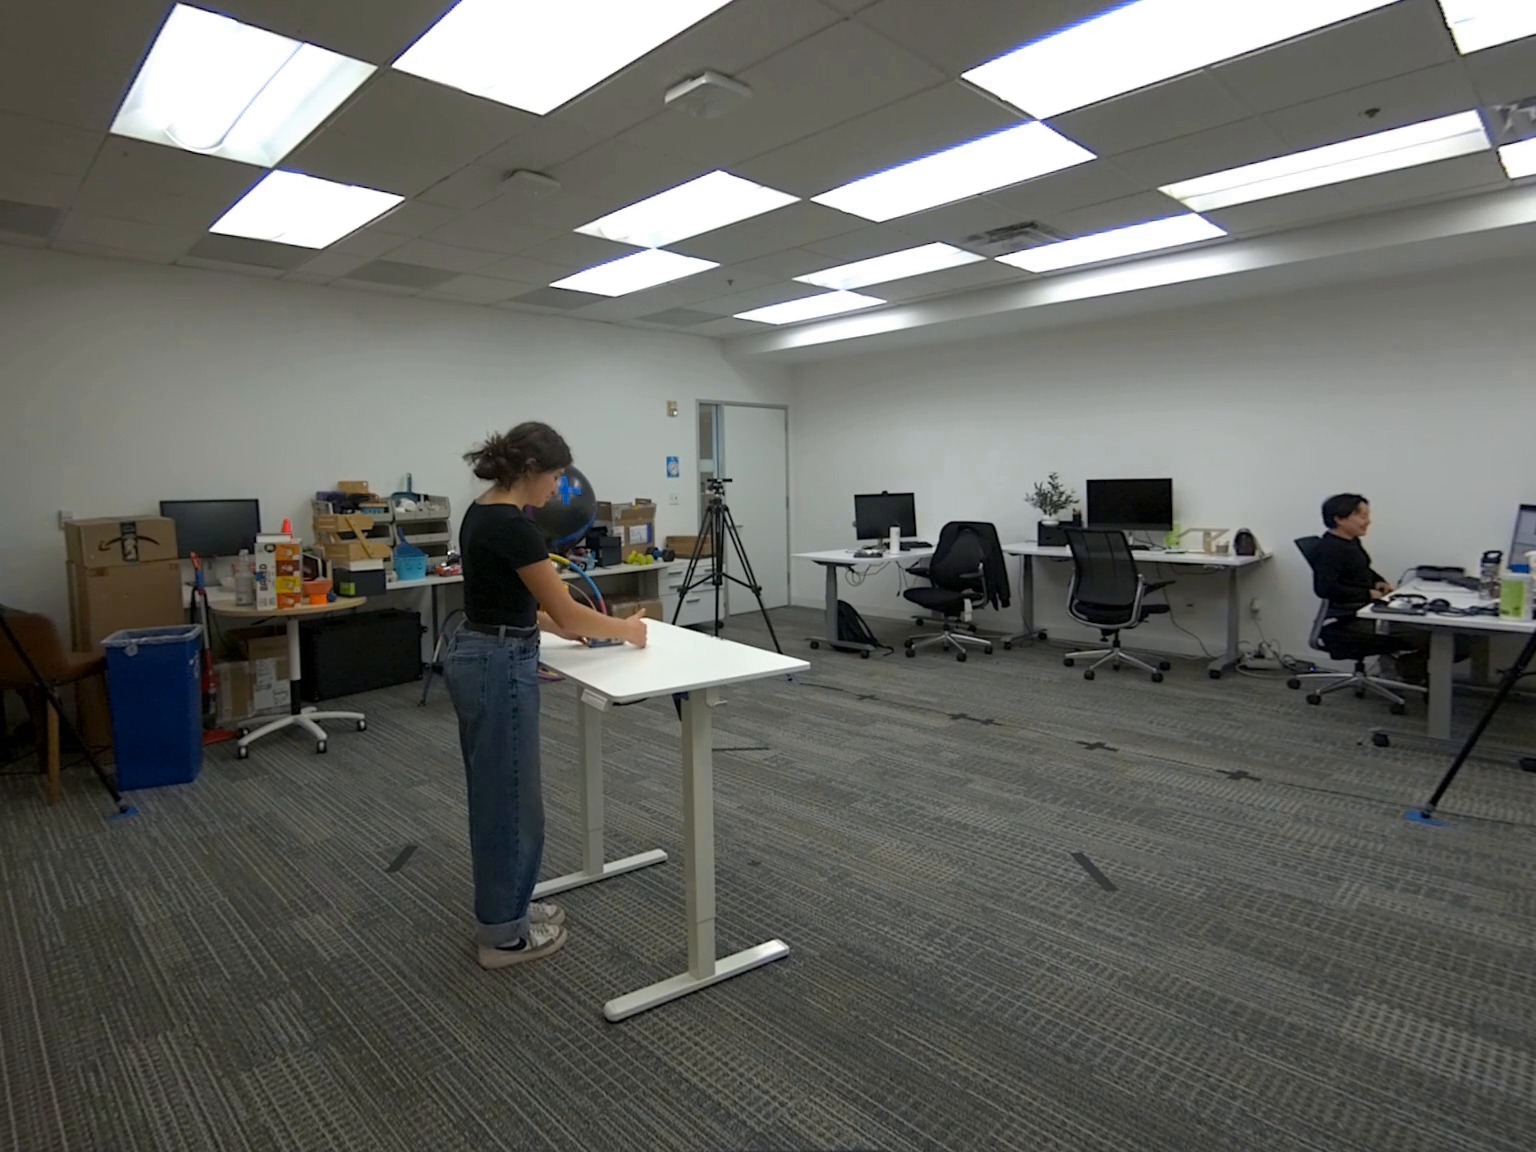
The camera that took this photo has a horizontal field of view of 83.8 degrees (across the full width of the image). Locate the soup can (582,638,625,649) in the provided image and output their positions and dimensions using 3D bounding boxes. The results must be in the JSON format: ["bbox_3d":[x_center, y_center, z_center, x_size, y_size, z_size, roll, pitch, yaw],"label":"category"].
[{"bbox_3d":[-0.511,0.190,2.687,0.119,0.067,0.069,-2,5,-22],"label":"soup can"}]
